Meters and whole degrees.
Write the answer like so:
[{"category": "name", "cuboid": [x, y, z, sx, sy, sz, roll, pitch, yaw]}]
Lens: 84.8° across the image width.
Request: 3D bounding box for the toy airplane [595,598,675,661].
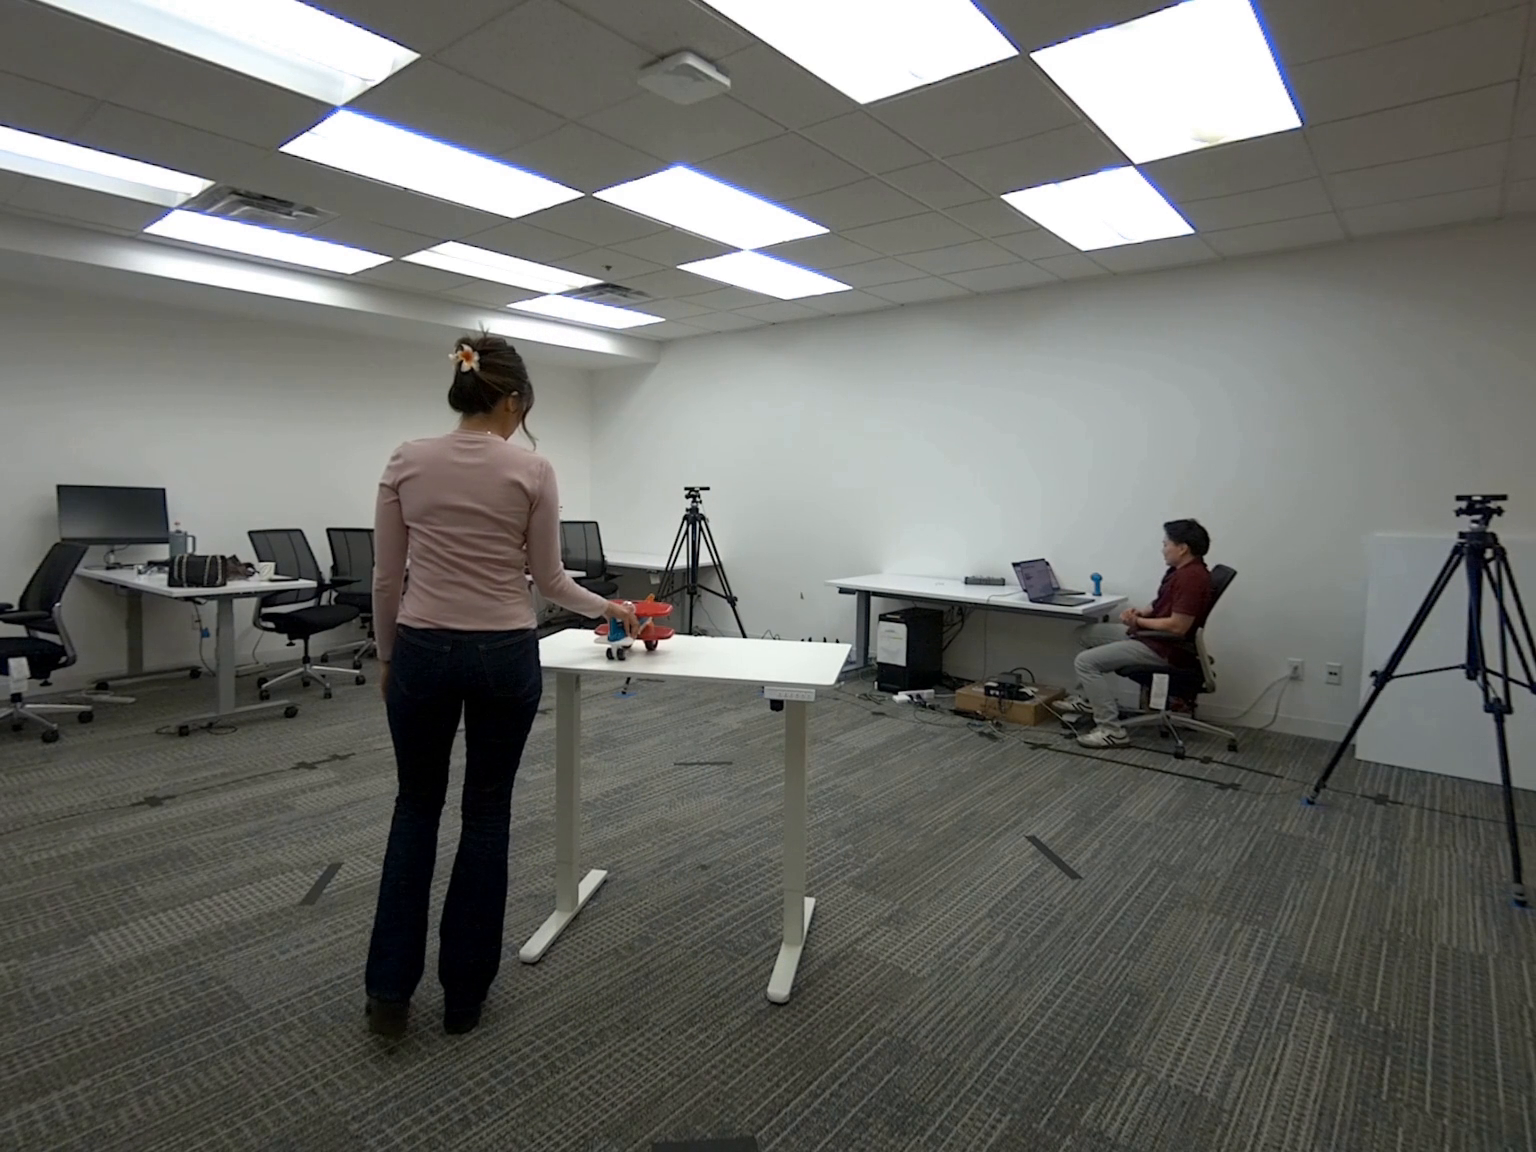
[{"category": "toy airplane", "cuboid": [-0.415, 0.160, 2.580, 0.247, 0.156, 0.264, -2, 5, -15]}]
